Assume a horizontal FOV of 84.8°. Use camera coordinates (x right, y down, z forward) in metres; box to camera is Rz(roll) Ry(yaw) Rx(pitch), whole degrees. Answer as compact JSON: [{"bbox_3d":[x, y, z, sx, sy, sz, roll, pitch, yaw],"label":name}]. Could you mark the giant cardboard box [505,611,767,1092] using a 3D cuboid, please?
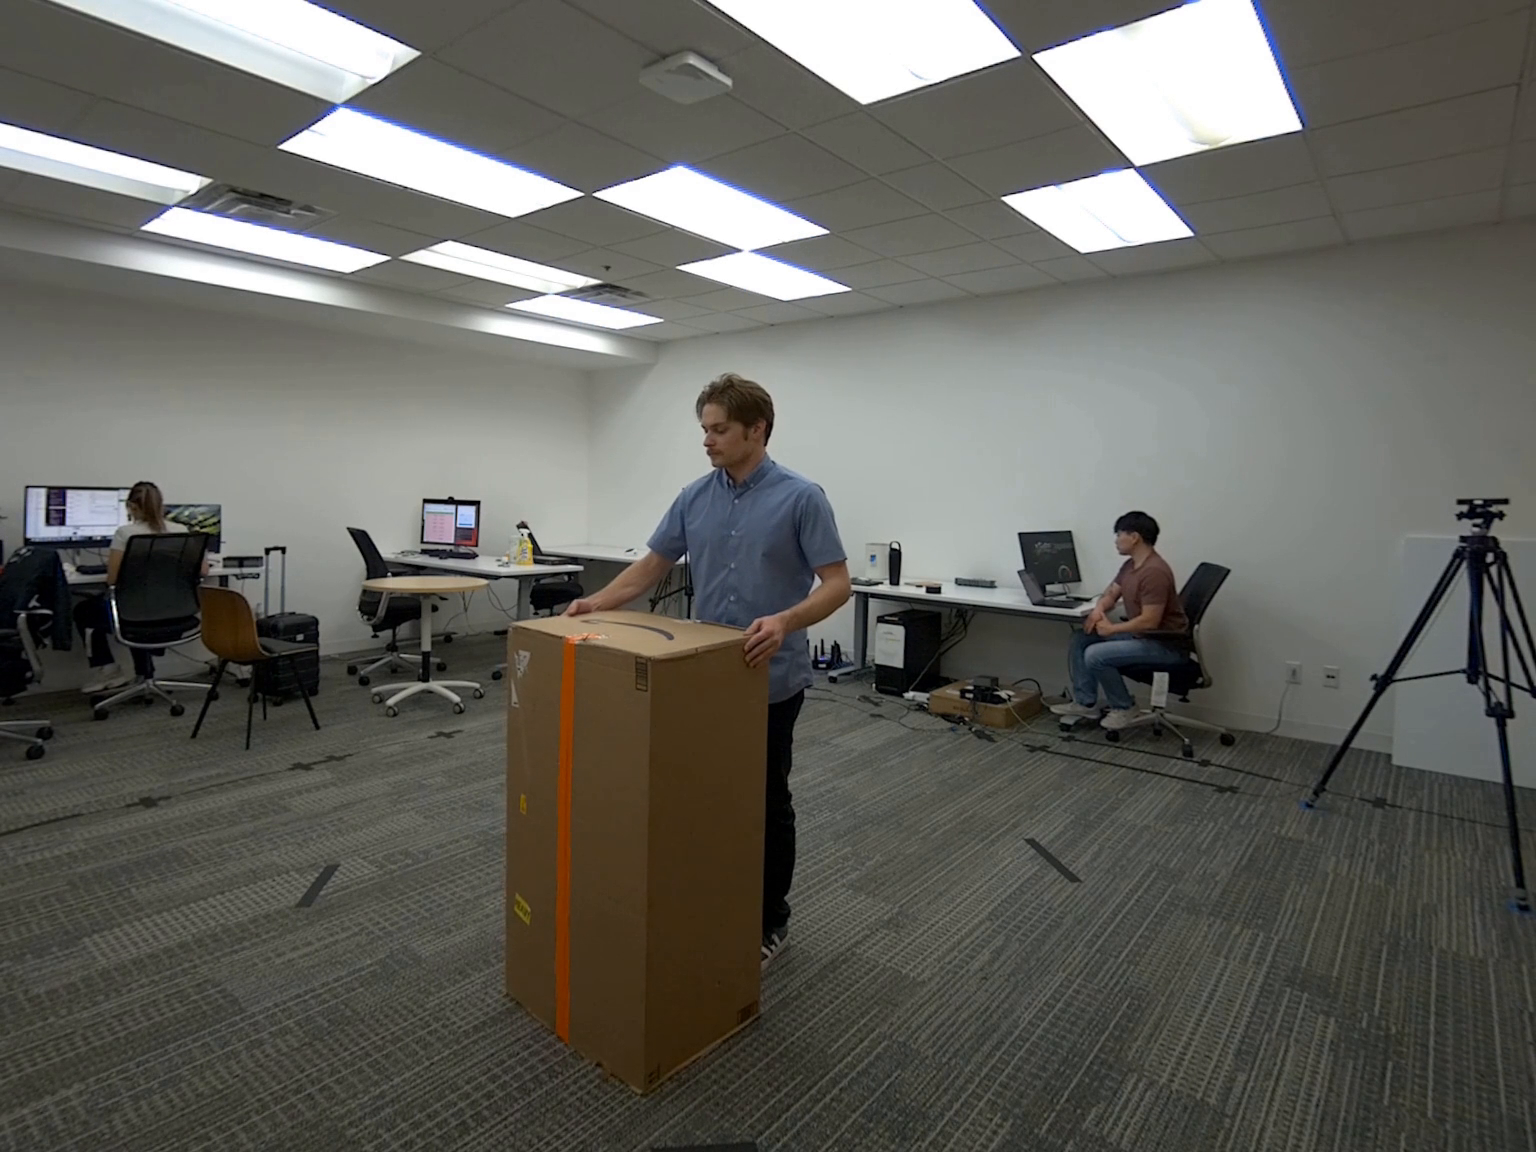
[{"bbox_3d":[-0.370,0.645,2.247,0.597,1.022,0.413,5,6,42],"label":"giant cardboard box"}]
